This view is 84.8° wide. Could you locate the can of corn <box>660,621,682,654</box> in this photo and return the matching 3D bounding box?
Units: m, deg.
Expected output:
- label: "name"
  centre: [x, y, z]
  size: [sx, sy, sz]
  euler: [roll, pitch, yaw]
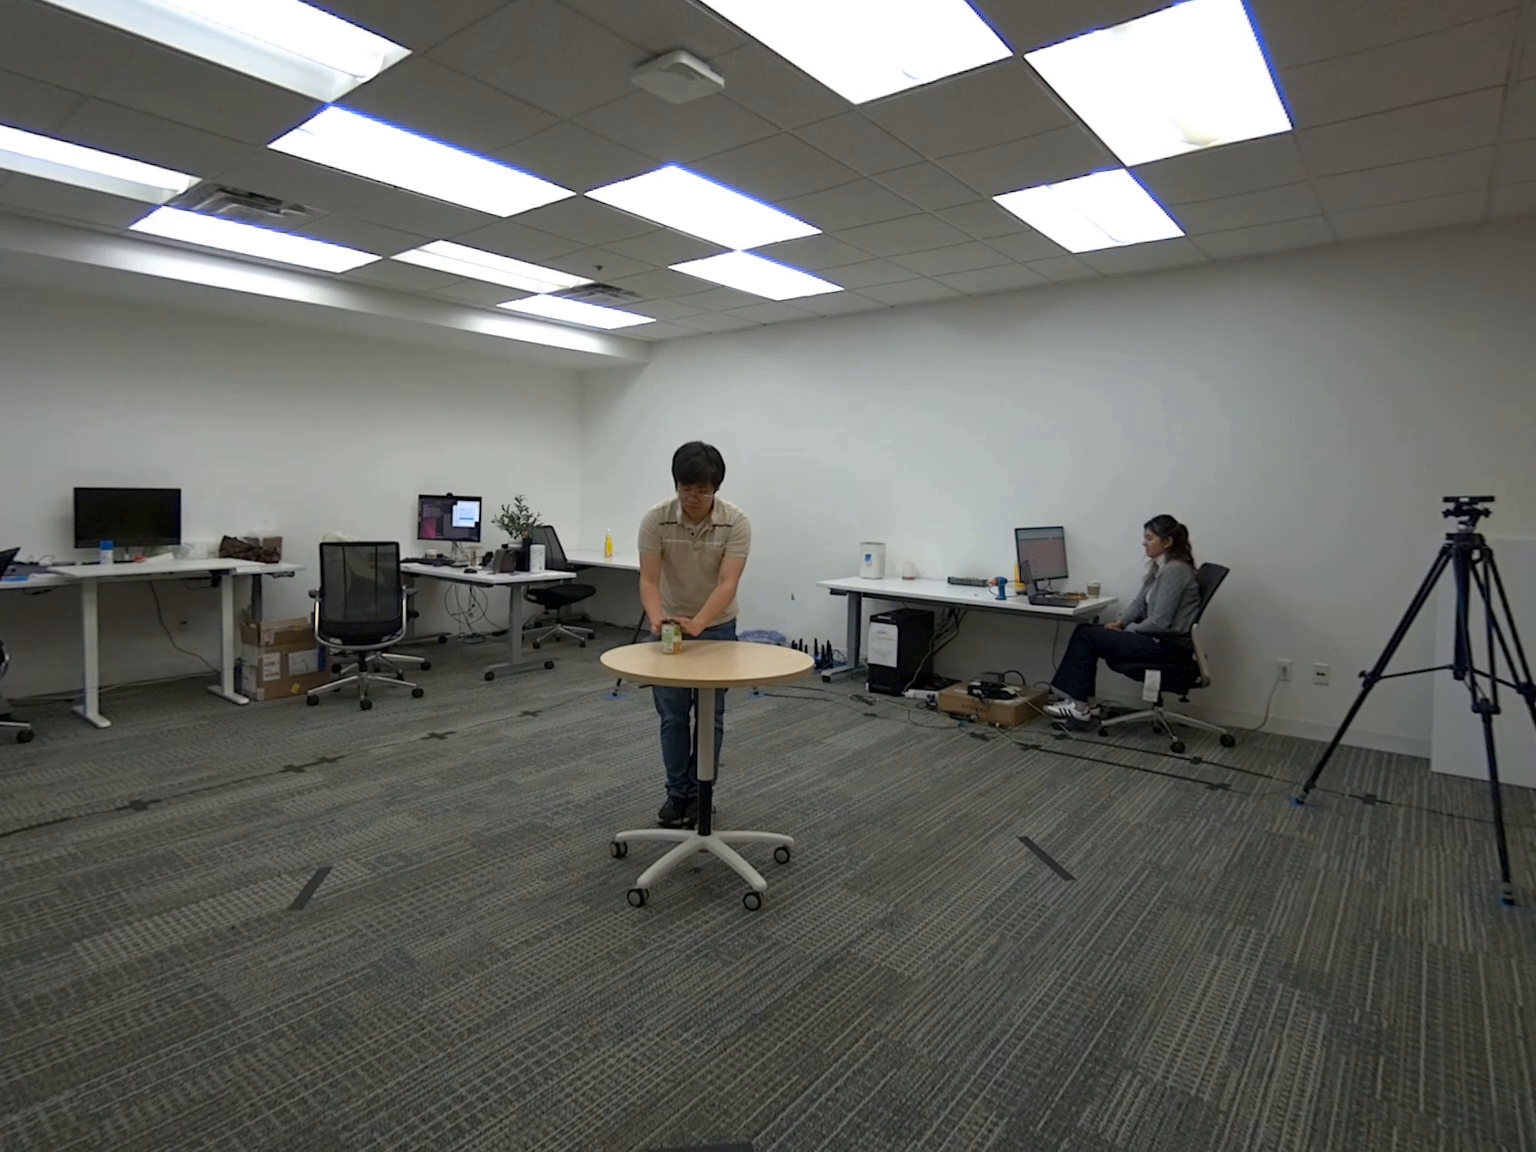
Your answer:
- label: "can of corn"
  centre: [-0.372, 0.226, 3.136]
  size: [0.074, 0.111, 0.074]
  euler: [-2, 0, -2]
